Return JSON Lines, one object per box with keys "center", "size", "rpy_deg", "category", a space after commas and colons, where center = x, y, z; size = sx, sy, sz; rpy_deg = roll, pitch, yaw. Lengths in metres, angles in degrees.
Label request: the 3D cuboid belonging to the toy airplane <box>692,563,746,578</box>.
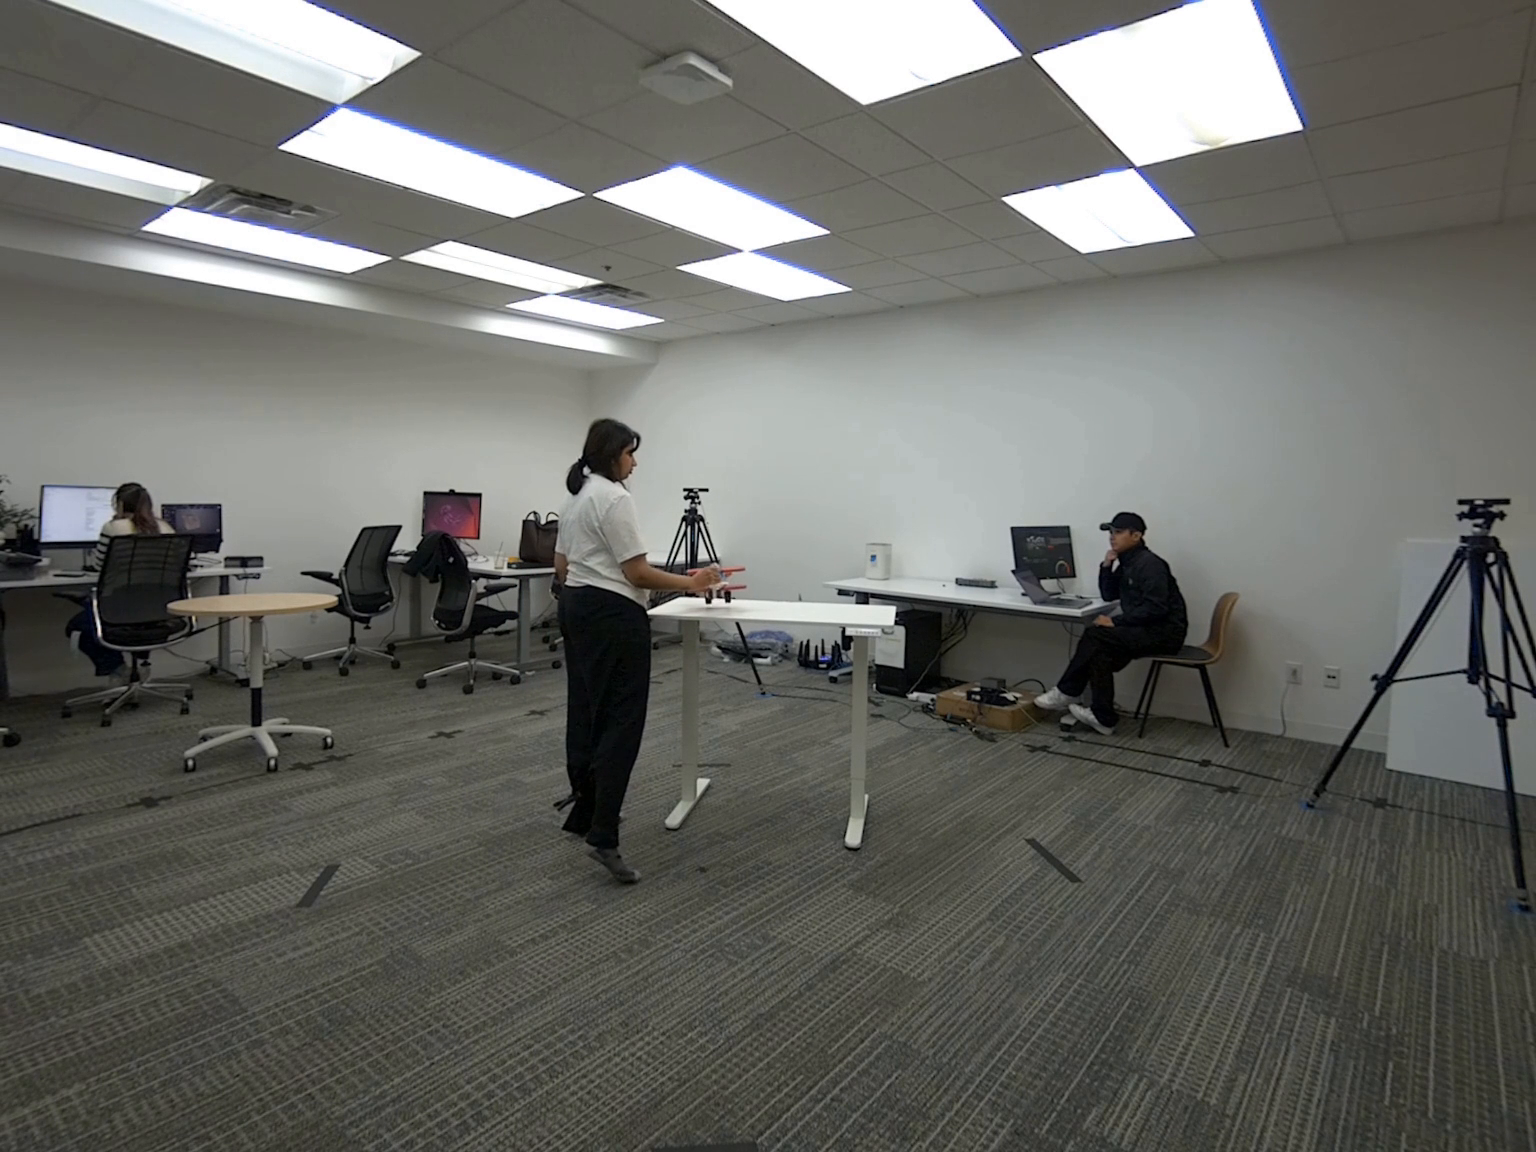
{"center": [-0.205, 0.031, 3.579], "size": [0.245, 0.158, 0.263], "rpy_deg": [3, -11, -26], "category": "toy airplane"}
